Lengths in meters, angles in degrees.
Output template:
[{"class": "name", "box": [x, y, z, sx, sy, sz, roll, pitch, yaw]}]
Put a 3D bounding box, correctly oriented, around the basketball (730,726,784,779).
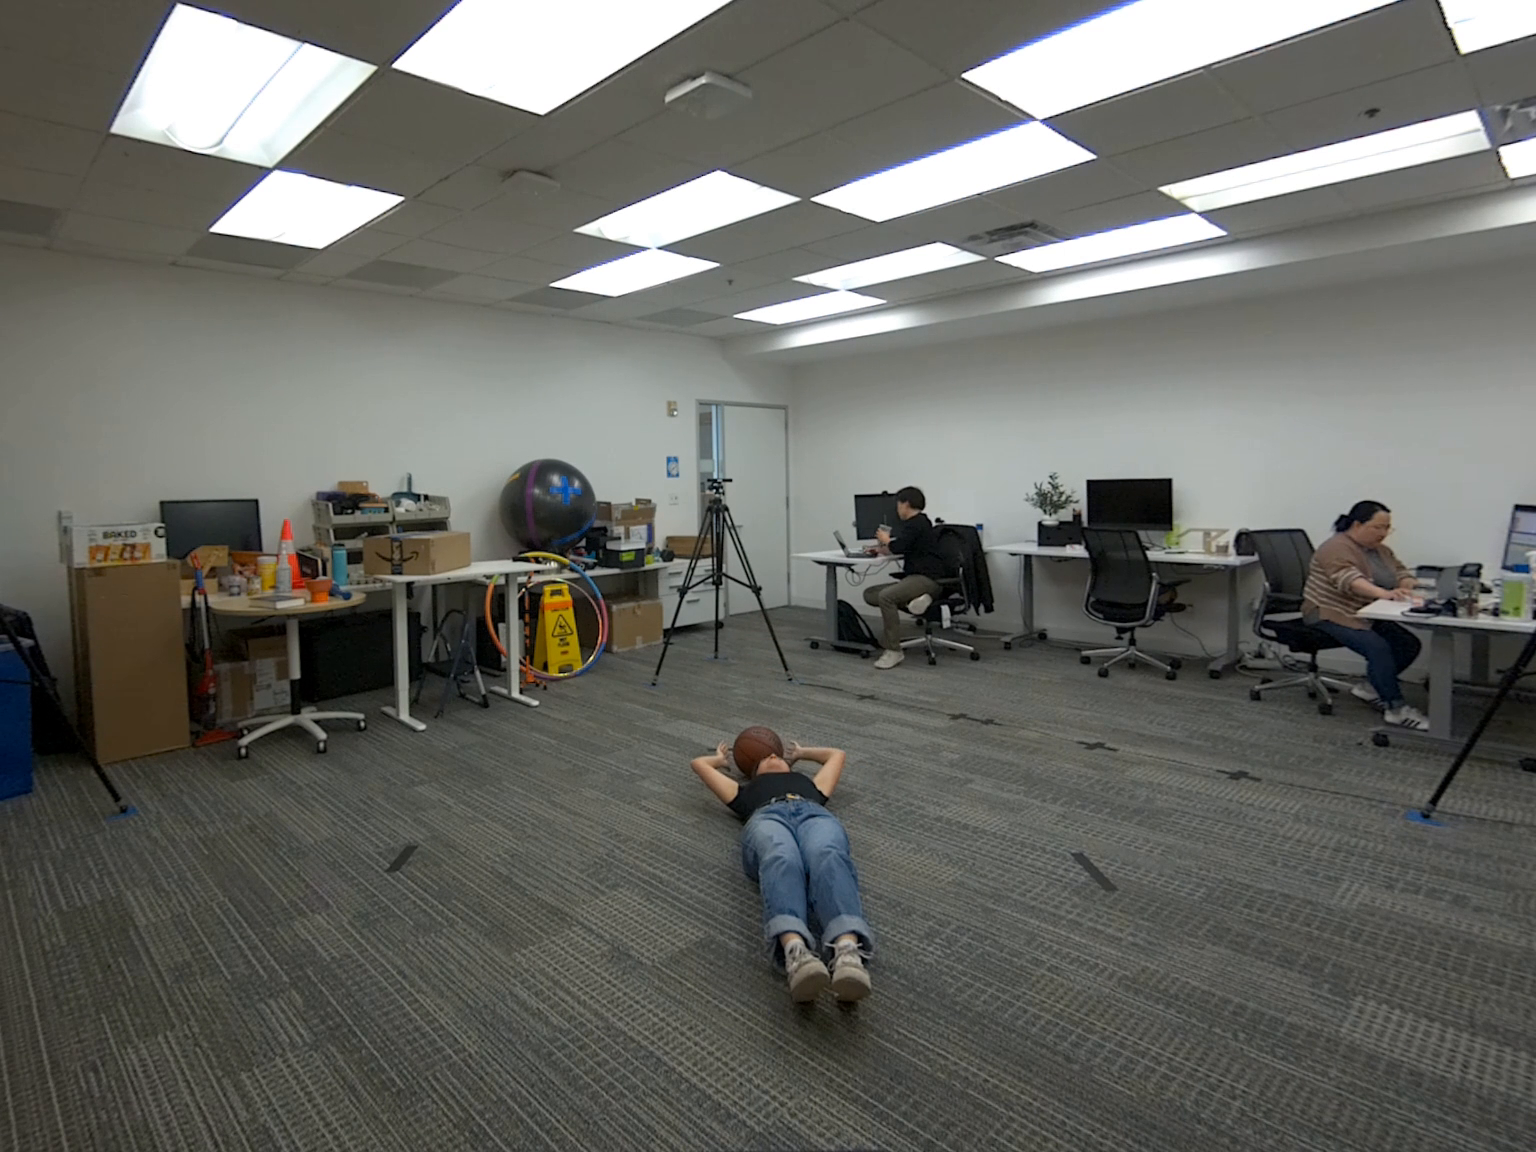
[{"class": "basketball", "box": [-0.049, 0.821, 4.012, 0.236, 0.235, 0.237, -1, 5, -2]}]
